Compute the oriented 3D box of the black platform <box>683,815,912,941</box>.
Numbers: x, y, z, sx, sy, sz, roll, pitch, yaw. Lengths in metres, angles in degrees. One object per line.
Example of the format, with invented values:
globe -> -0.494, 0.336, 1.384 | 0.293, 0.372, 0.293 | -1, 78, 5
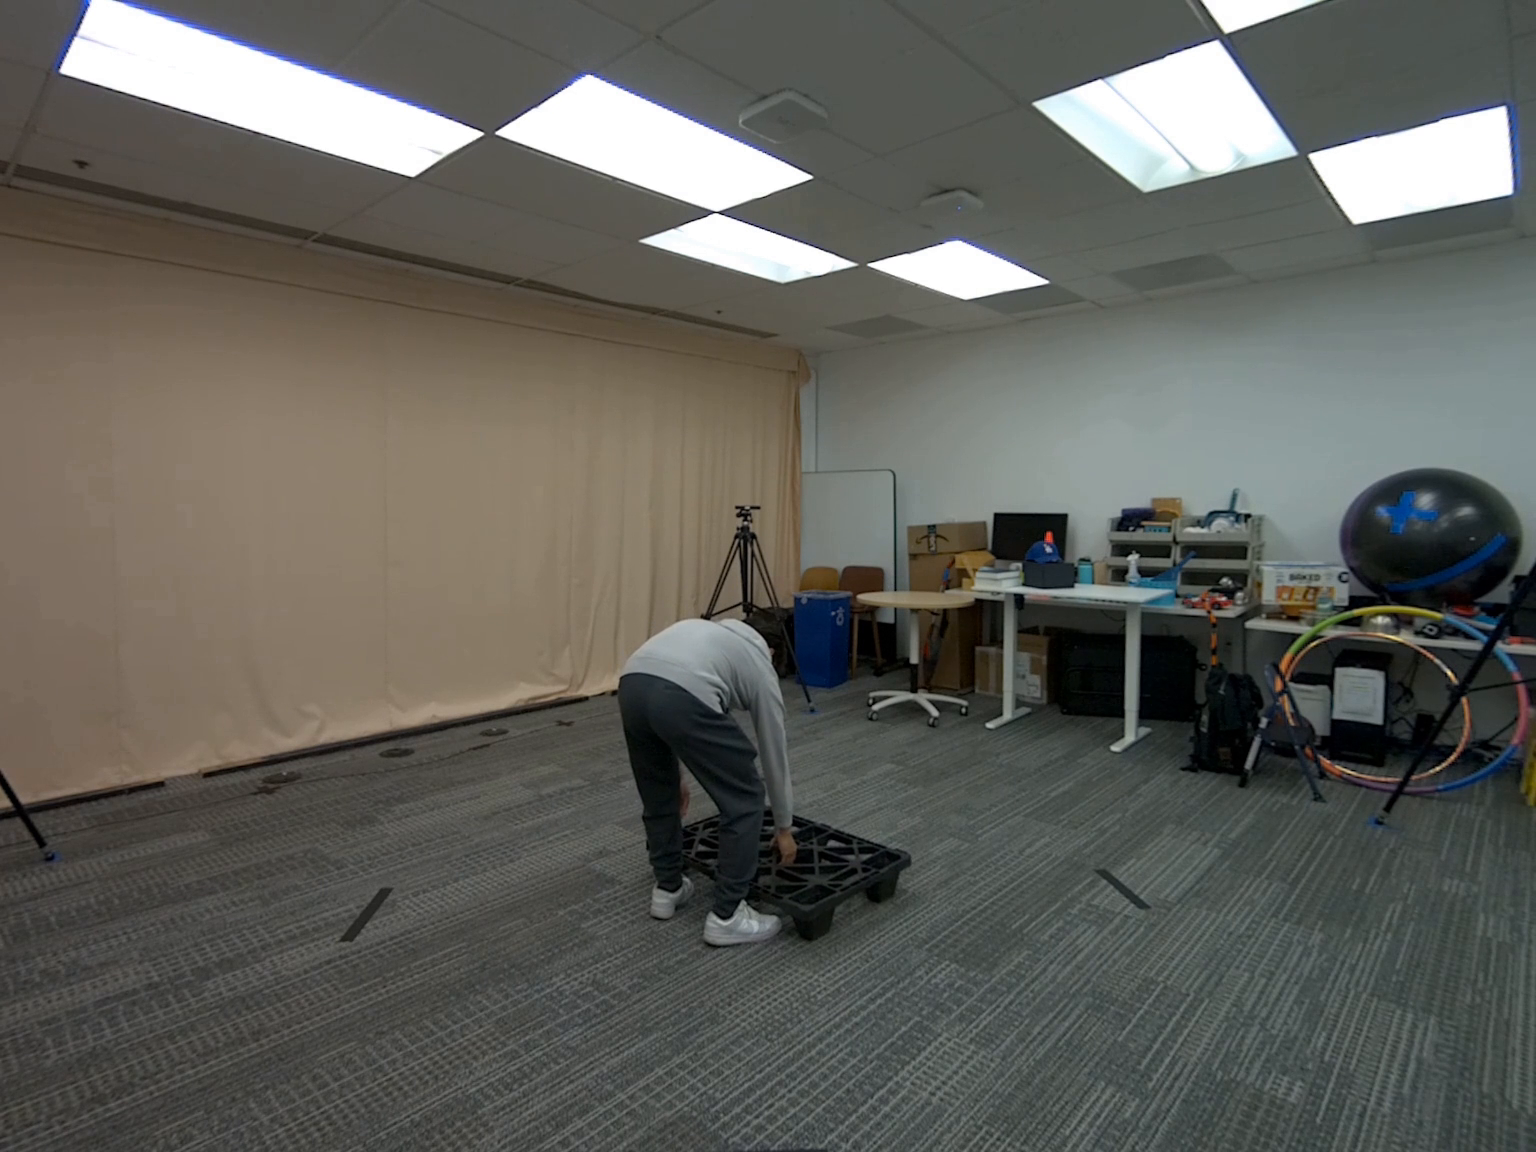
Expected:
black platform -> 0.031, 1.065, 3.100 | 0.832, 0.143, 0.587 | 4, 7, 45
